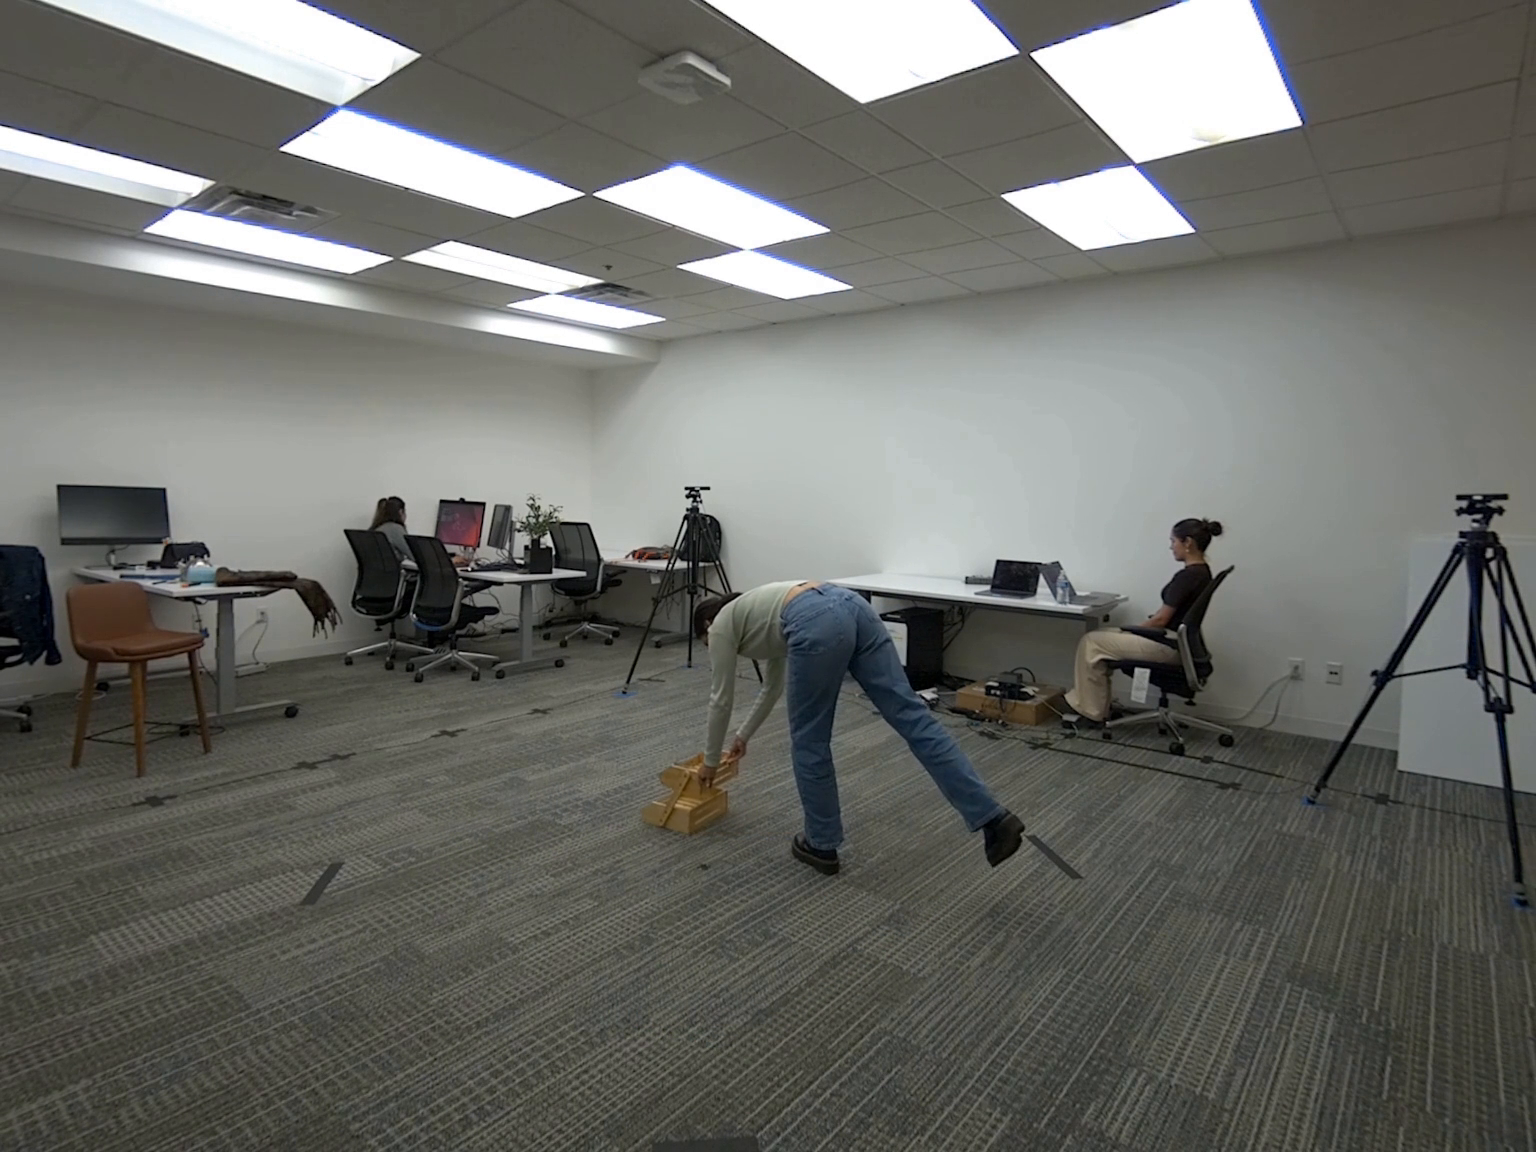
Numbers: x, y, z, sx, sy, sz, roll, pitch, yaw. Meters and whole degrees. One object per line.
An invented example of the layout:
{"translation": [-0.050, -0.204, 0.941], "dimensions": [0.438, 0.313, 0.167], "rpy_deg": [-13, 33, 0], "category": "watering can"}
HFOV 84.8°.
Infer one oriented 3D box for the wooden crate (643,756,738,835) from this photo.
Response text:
{"translation": [-0.344, 0.883, 3.588], "dimensions": [0.311, 0.272, 0.316], "rpy_deg": [4, 5, 30], "category": "wooden crate"}
